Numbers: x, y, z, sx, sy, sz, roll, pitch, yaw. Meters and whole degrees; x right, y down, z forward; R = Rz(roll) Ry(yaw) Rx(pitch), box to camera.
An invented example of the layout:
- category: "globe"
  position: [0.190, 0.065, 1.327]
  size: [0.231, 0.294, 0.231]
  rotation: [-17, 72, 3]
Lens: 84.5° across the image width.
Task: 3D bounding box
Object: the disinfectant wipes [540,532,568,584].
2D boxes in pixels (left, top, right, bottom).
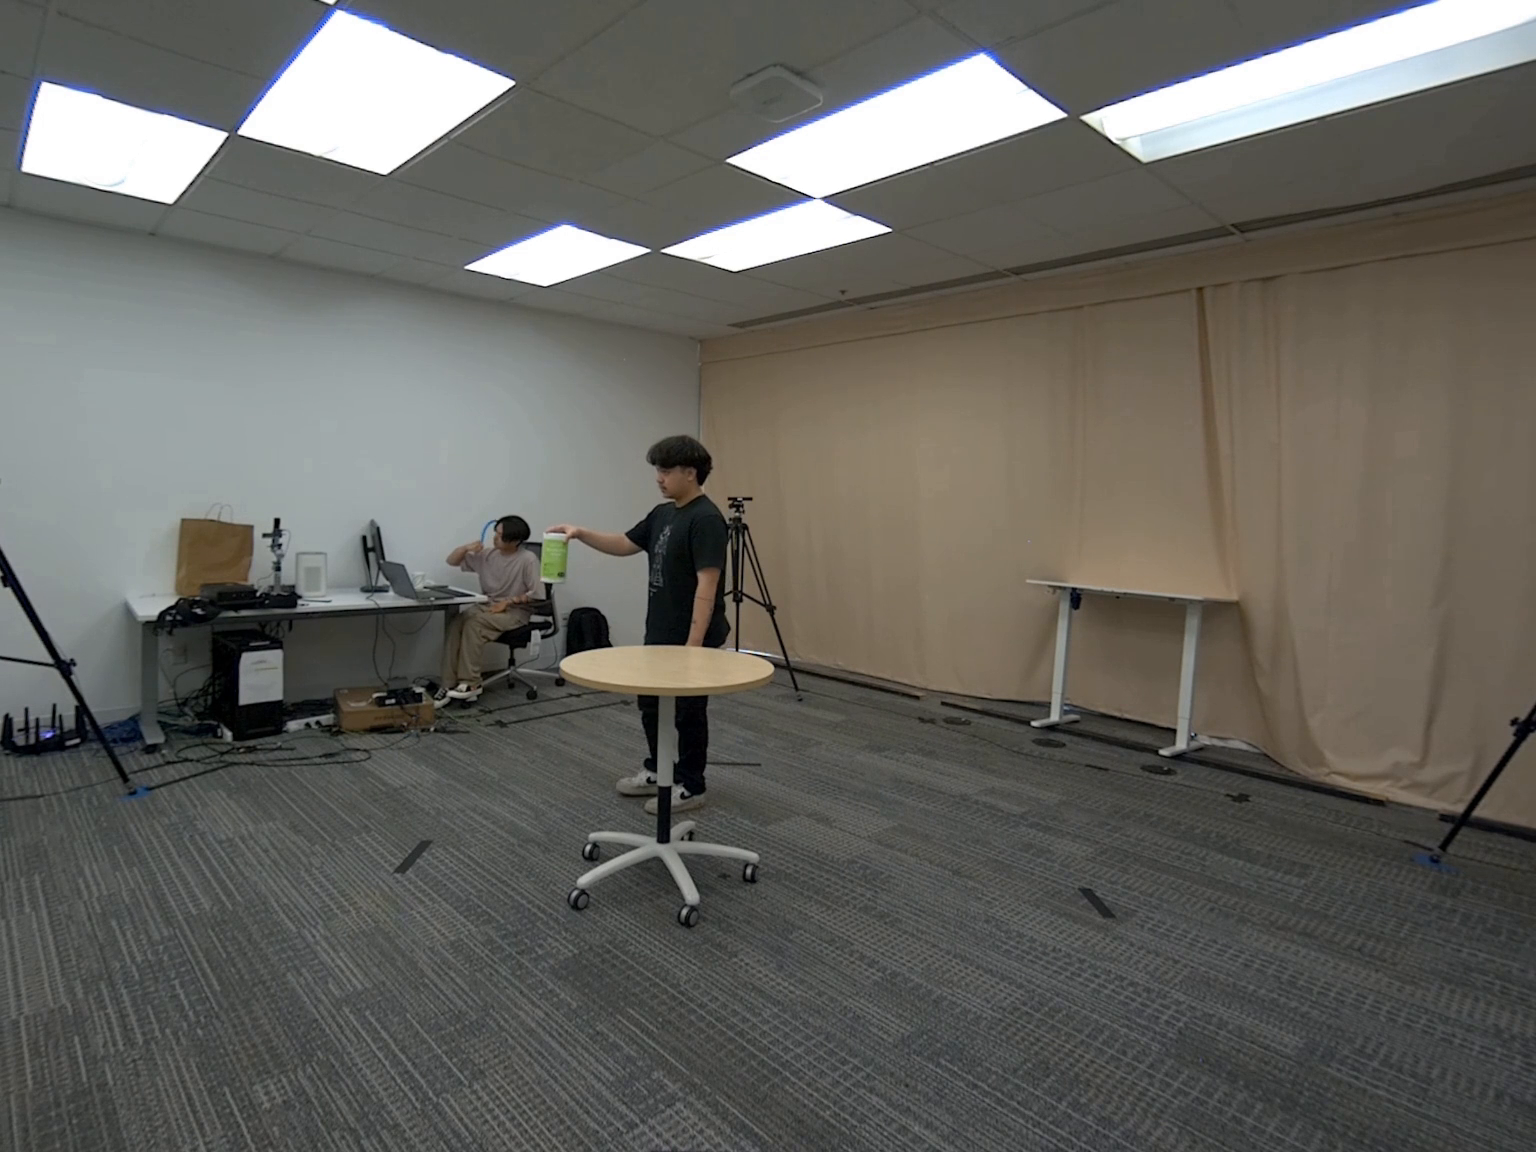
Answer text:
- category: "disinfectant wipes"
  position: [-0.933, -0.080, 3.651]
  size: [0.118, 0.217, 0.118]
  rotation: [5, 0, -1]
